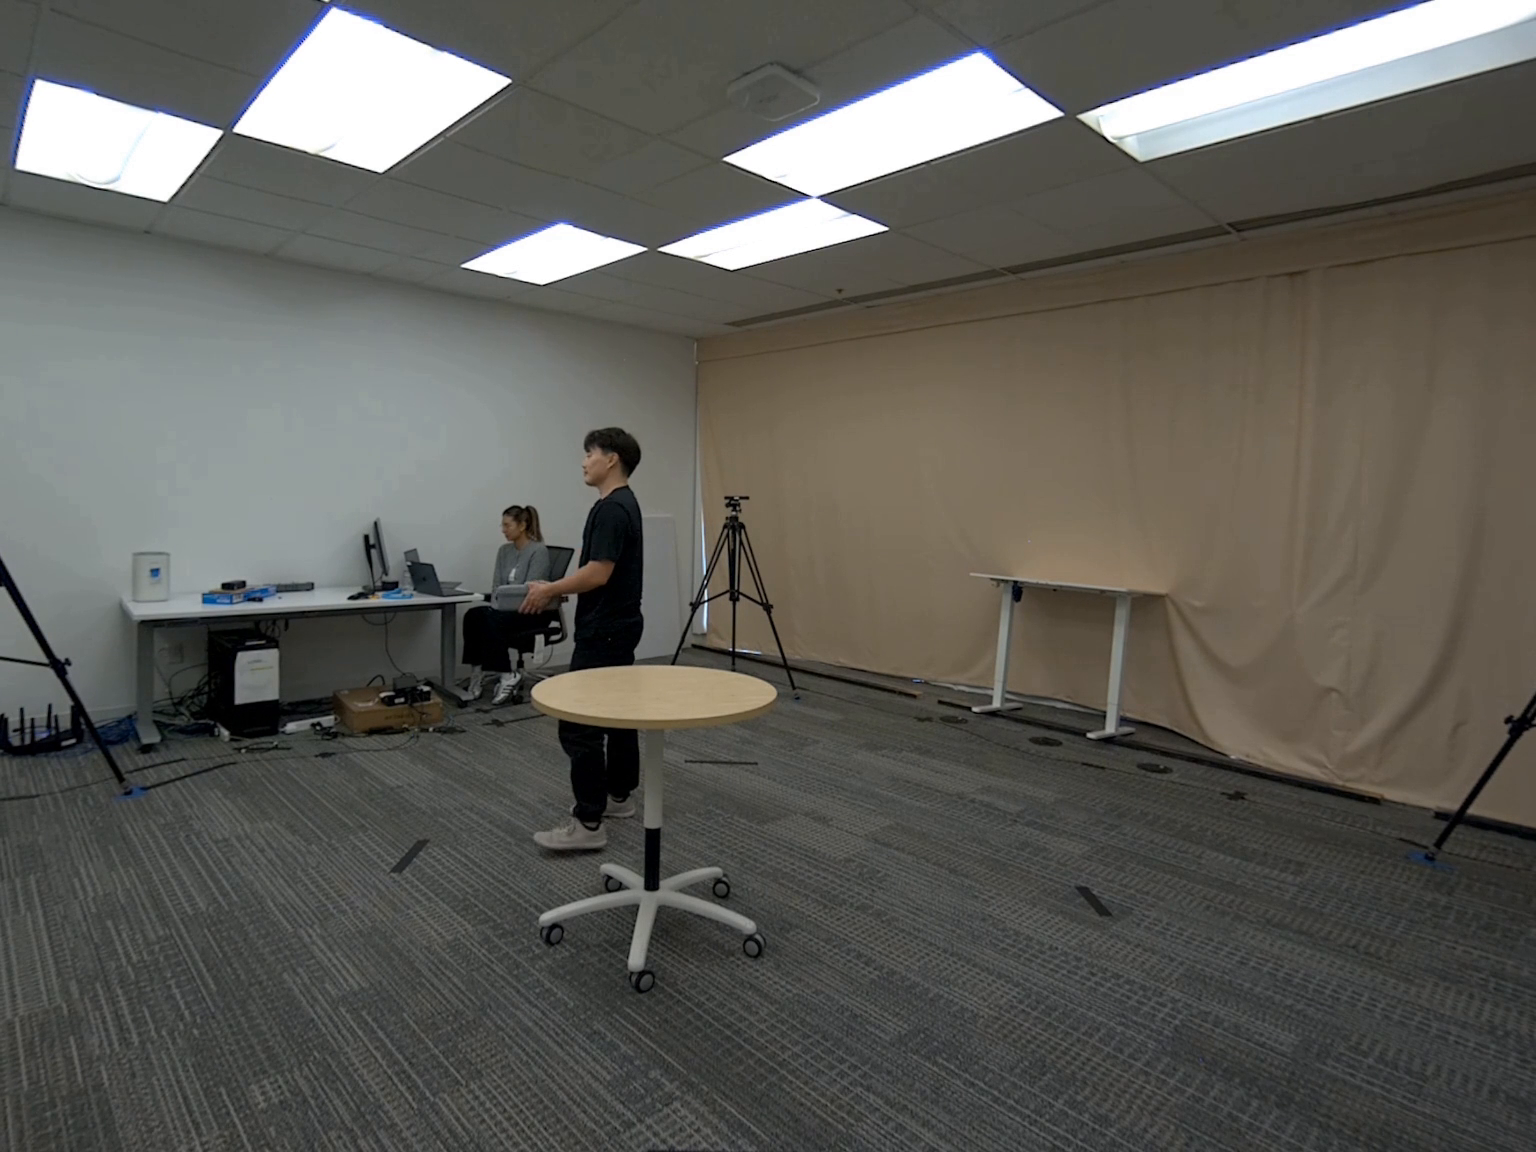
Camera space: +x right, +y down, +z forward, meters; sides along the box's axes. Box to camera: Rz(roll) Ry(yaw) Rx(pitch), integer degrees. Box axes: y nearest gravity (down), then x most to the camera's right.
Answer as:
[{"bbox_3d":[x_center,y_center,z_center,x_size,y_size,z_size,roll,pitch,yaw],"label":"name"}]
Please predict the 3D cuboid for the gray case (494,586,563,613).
[{"bbox_3d":[-0.992,0.093,3.517,0.258,0.104,0.259,0,-1,-11],"label":"gray case"}]
